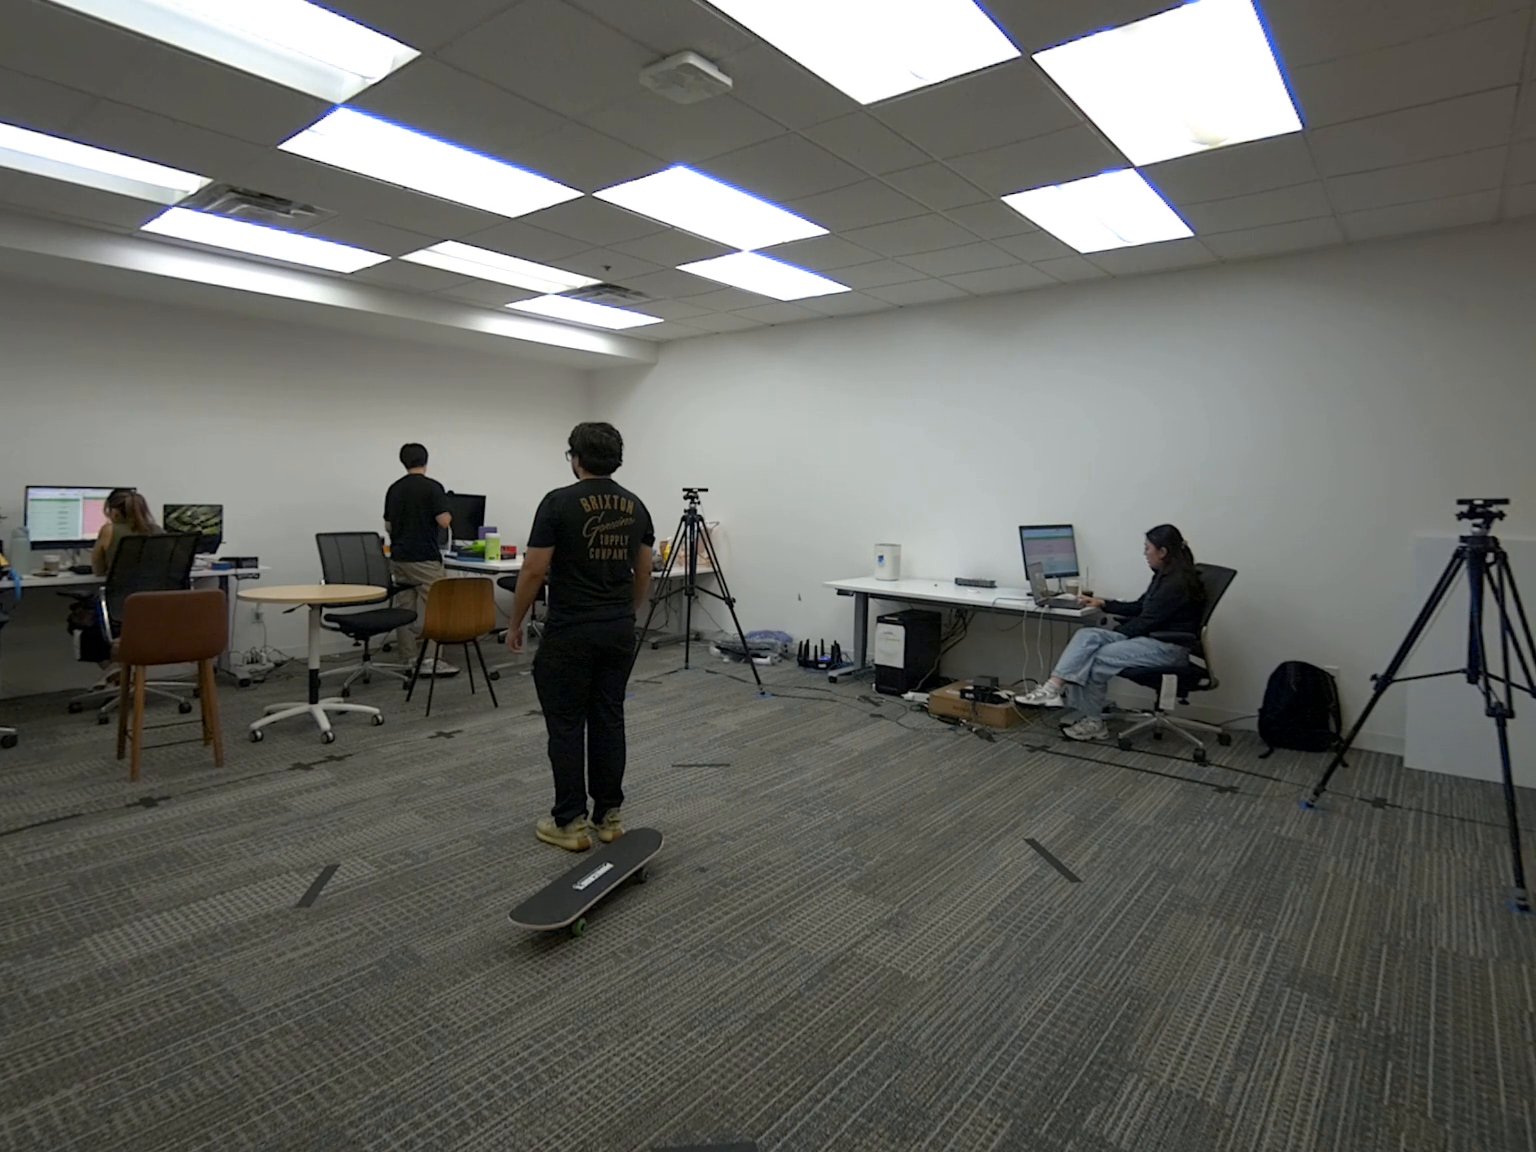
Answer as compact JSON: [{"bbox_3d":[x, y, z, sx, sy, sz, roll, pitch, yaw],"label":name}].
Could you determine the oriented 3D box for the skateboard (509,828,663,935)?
[{"bbox_3d":[-0.594,1.030,2.852,0.198,0.110,0.770,2,6,22],"label":"skateboard"}]
